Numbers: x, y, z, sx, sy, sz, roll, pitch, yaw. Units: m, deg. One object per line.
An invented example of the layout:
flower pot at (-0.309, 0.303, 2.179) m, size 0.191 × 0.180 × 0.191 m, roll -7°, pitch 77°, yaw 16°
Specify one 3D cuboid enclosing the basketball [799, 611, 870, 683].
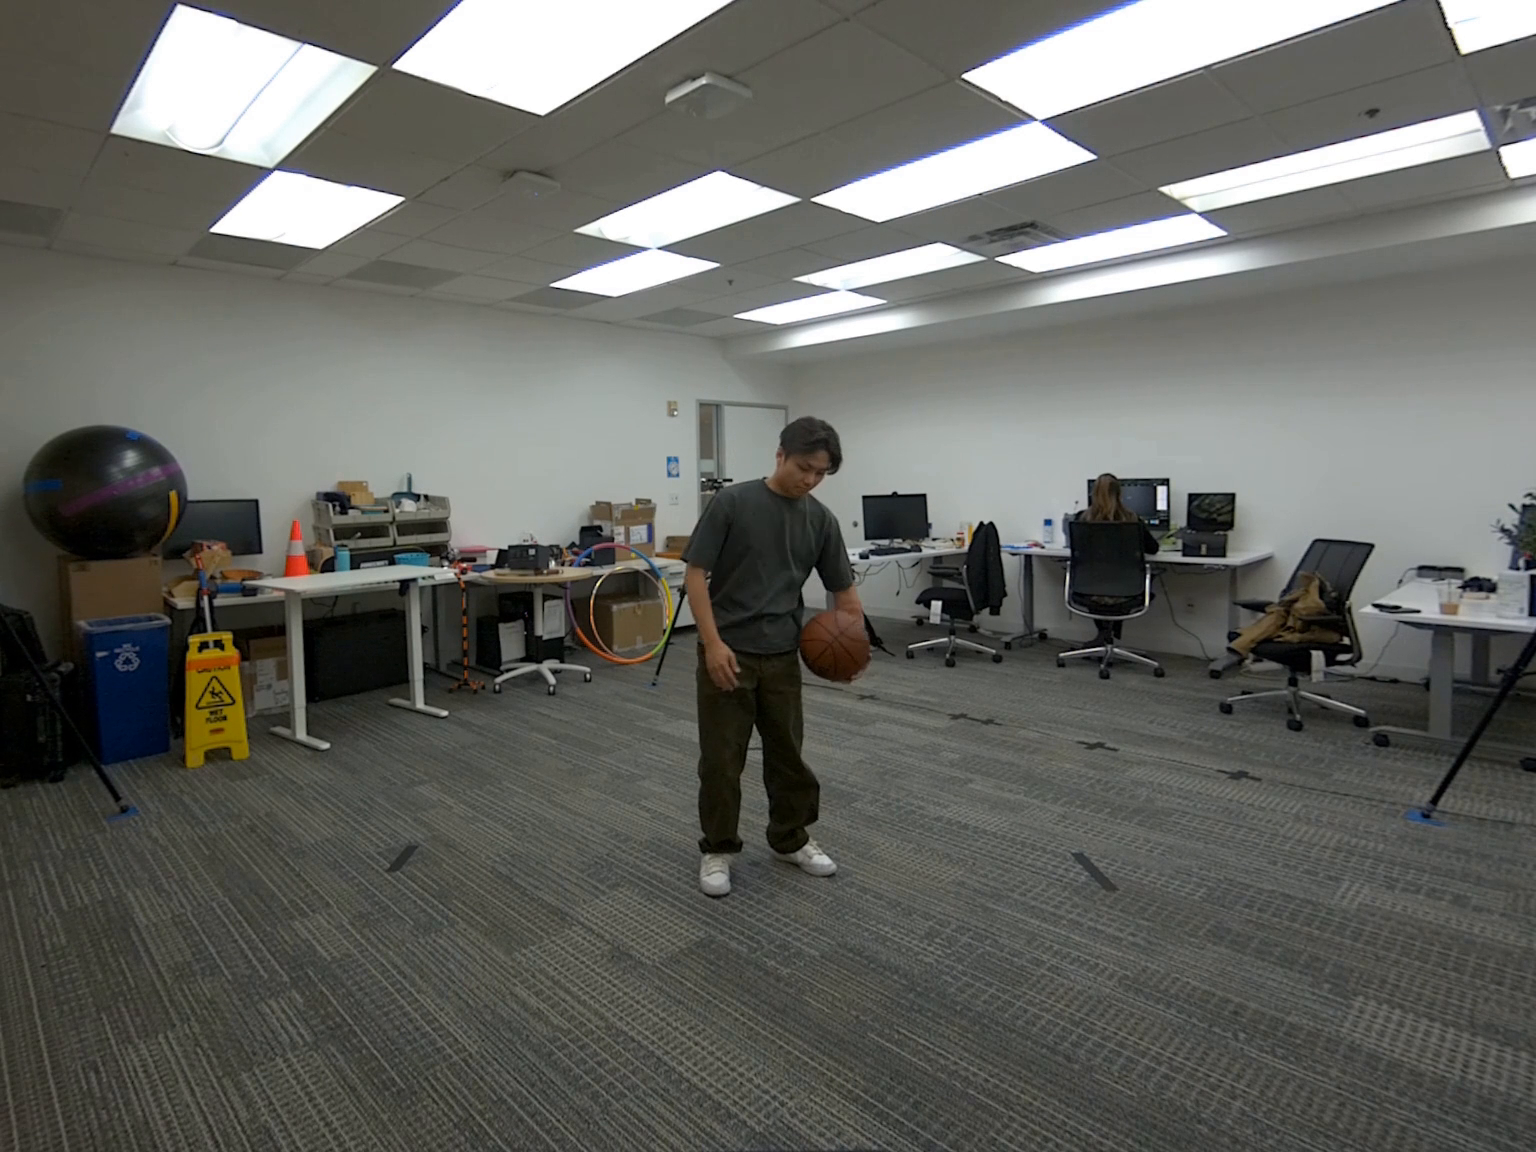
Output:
basketball at (0.214, 0.233, 2.904) m, size 0.236 × 0.235 × 0.237 m, roll -1°, pitch 5°, yaw -2°
